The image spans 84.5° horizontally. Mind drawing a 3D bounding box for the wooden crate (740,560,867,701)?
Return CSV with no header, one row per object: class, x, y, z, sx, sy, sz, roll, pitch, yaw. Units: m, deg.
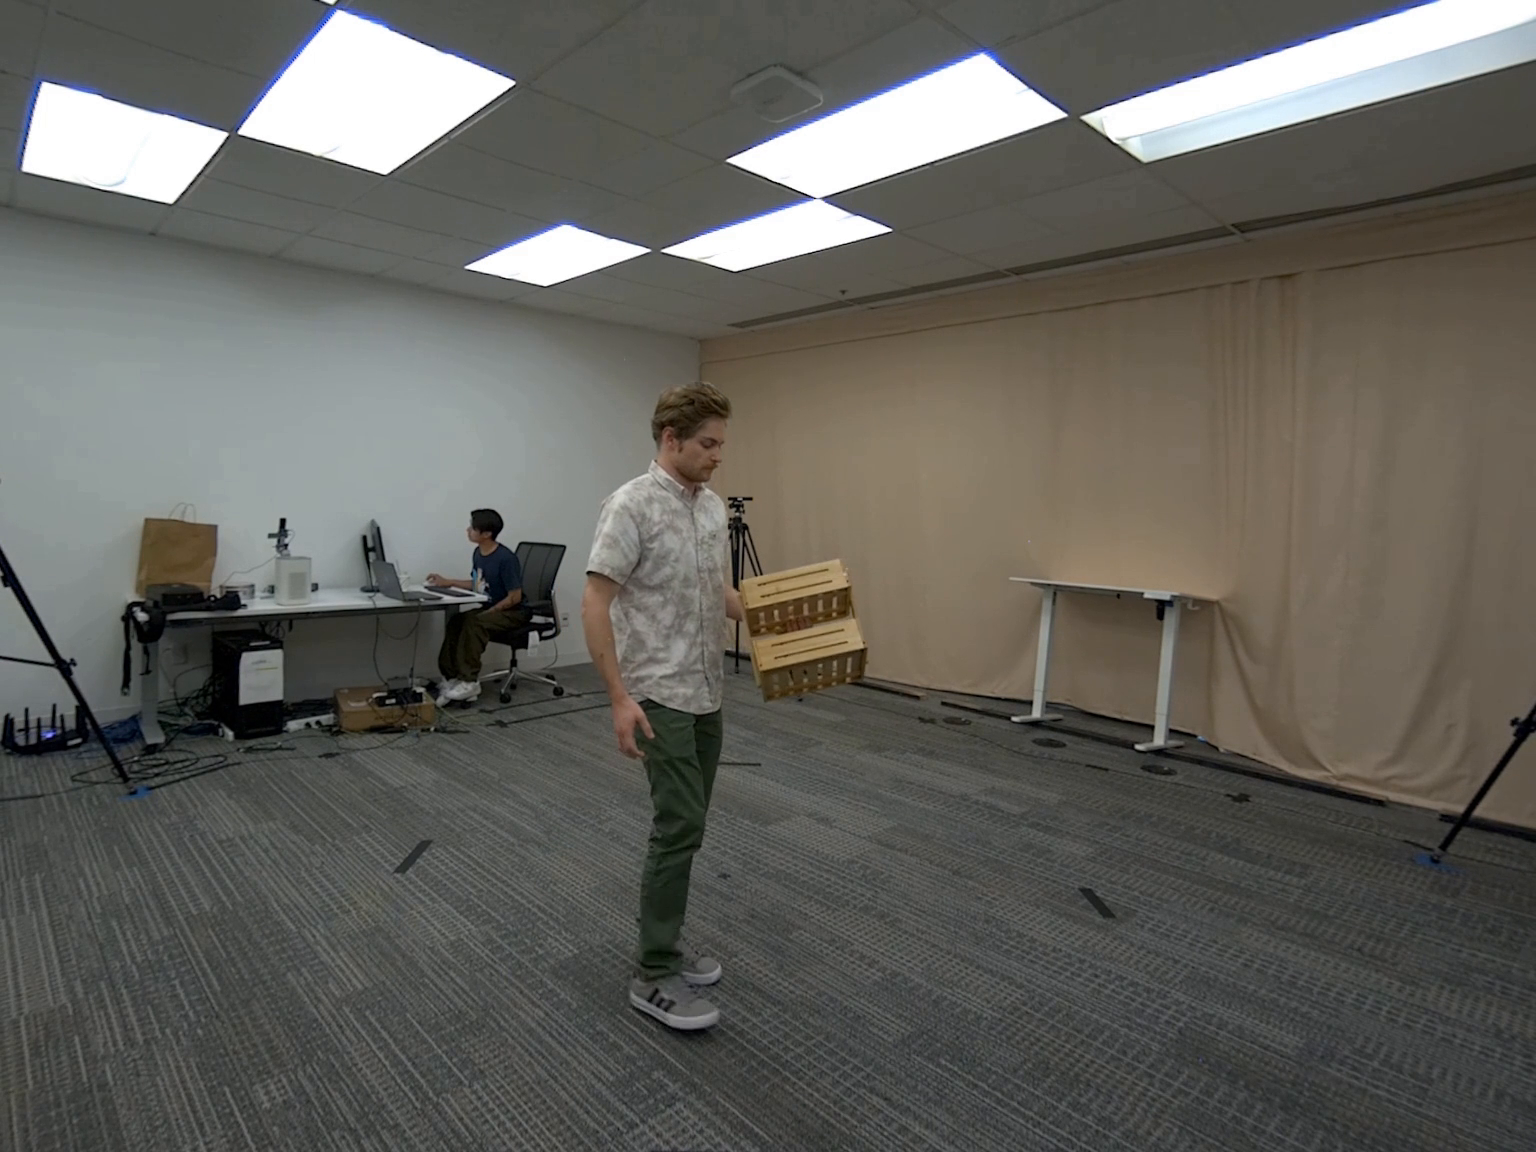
wooden crate,0.092,0.160,2.422,0.323,0.280,0.296,-11,-31,-5
